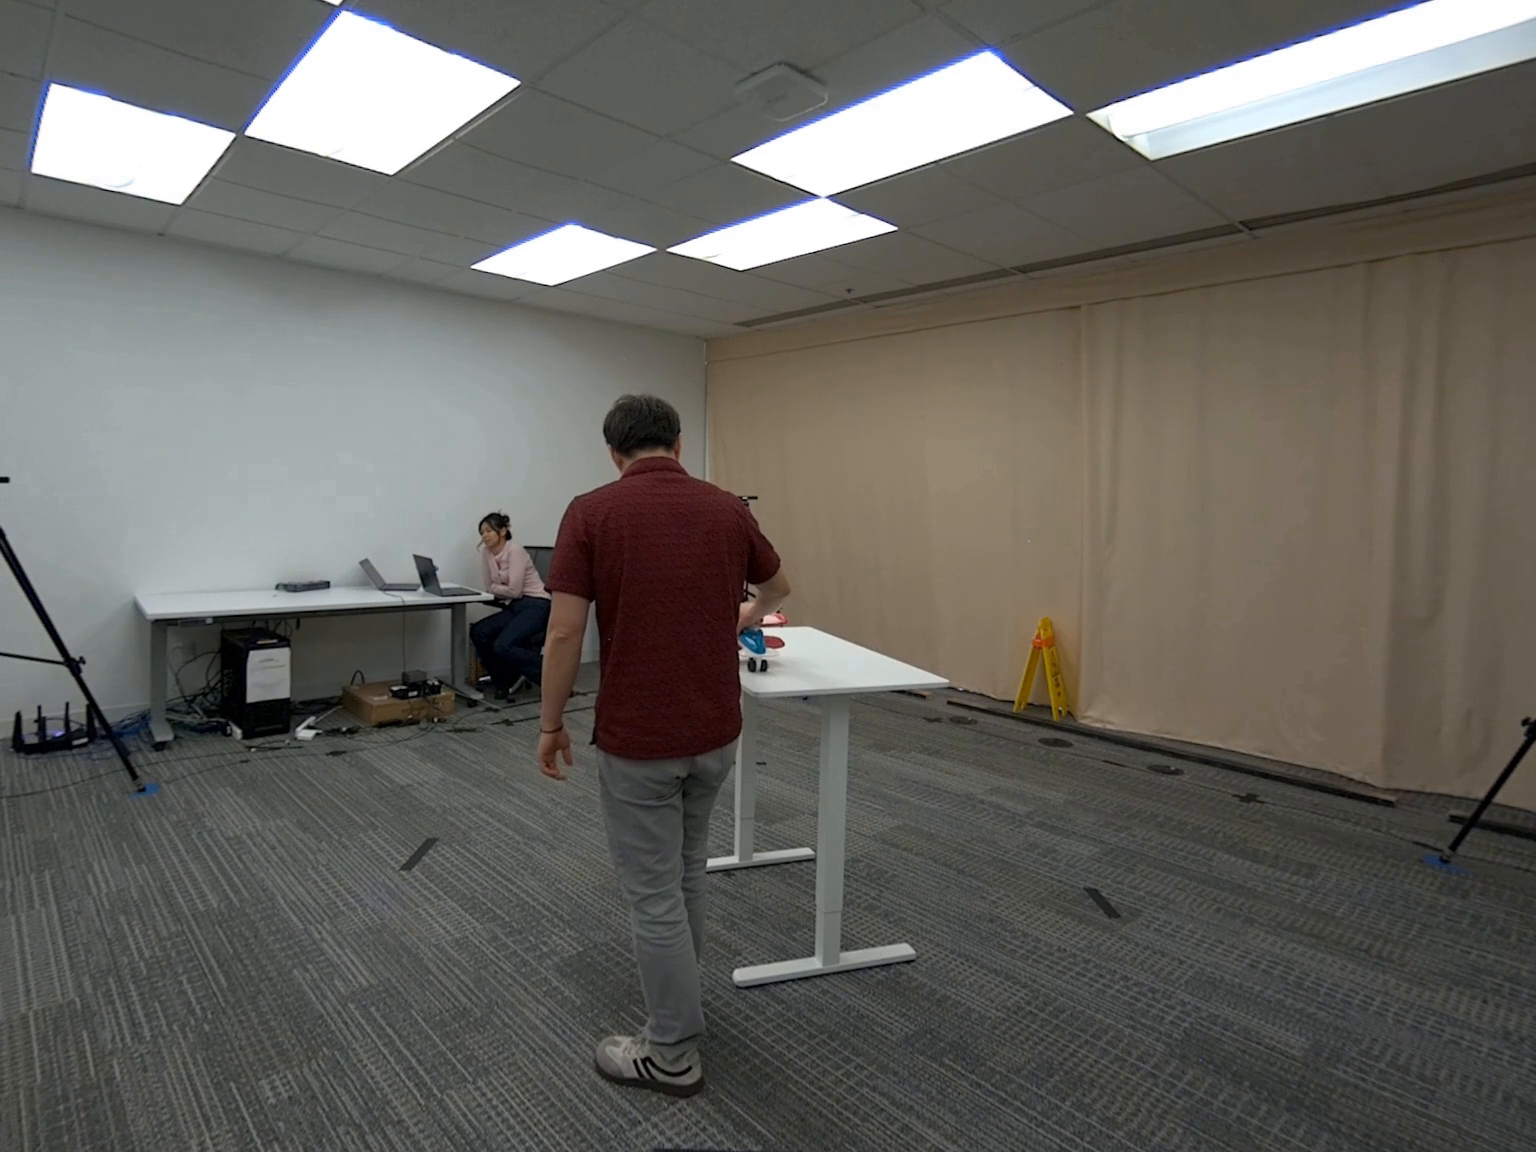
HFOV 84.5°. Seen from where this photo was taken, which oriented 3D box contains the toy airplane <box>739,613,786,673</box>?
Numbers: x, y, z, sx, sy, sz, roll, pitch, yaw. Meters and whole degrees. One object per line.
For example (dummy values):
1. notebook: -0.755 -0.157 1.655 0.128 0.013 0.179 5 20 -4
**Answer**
1. toy airplane: -0.049 0.199 2.571 0.245 0.156 0.266 -5 7 -43
